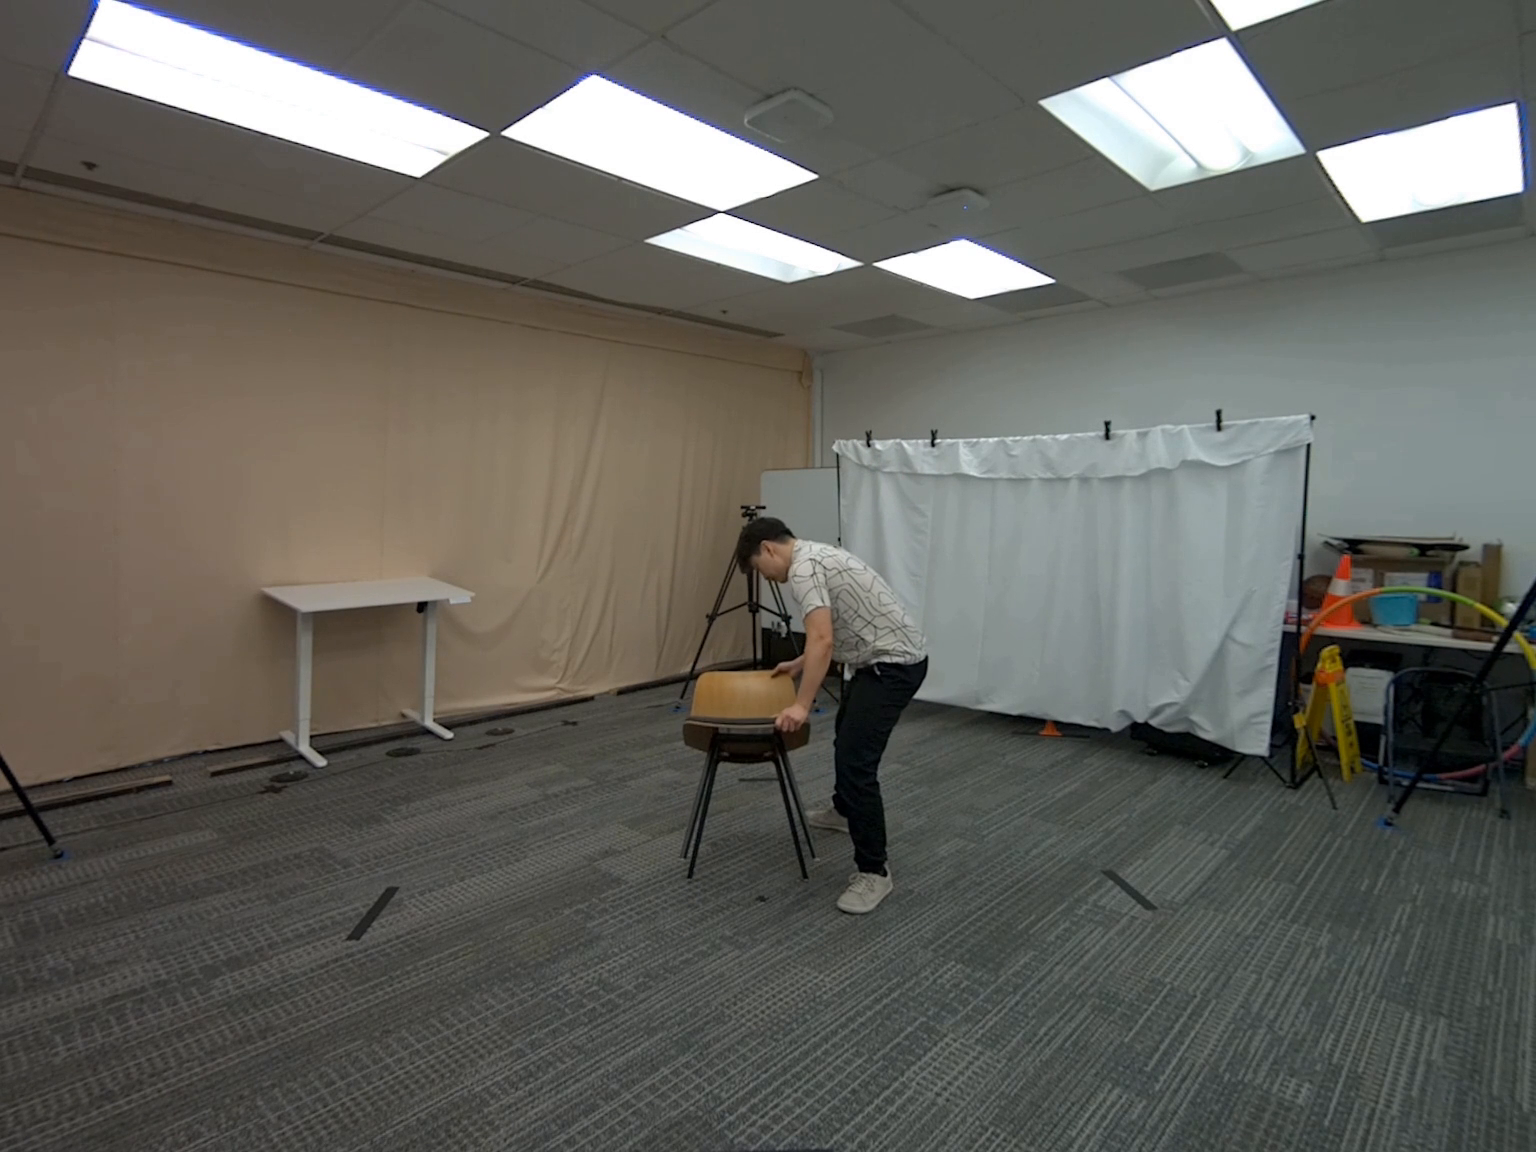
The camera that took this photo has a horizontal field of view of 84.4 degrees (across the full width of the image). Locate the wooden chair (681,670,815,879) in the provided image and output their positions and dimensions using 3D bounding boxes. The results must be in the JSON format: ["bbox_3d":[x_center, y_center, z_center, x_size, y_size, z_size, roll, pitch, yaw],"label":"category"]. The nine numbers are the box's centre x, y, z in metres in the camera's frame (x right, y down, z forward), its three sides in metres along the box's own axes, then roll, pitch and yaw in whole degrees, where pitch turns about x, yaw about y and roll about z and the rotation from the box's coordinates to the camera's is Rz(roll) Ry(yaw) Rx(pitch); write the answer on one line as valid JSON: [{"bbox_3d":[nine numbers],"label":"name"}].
[{"bbox_3d":[-0.079,0.651,3.134,0.478,0.892,0.514,-1,-33,-1],"label":"wooden chair"}]
